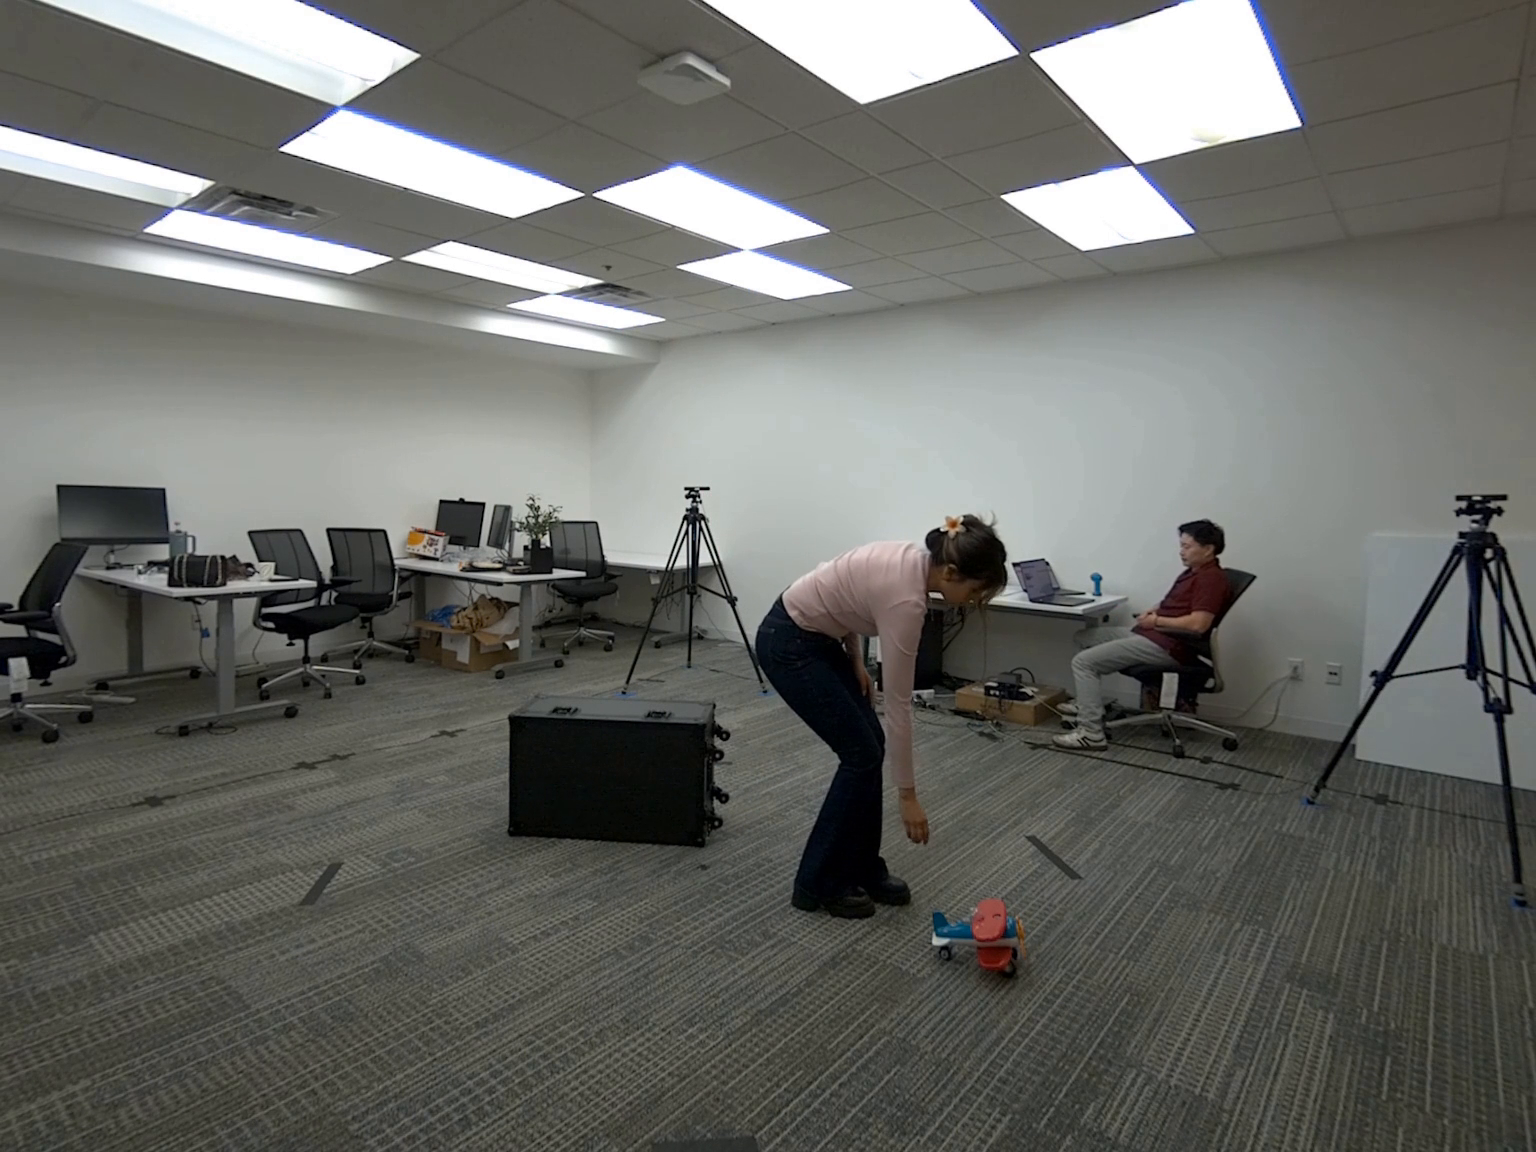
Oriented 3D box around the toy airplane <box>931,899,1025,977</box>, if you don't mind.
[{"bbox_3d":[0.619,1.078,2.490,0.257,0.156,0.255,1,5,-10],"label":"toy airplane"}]
